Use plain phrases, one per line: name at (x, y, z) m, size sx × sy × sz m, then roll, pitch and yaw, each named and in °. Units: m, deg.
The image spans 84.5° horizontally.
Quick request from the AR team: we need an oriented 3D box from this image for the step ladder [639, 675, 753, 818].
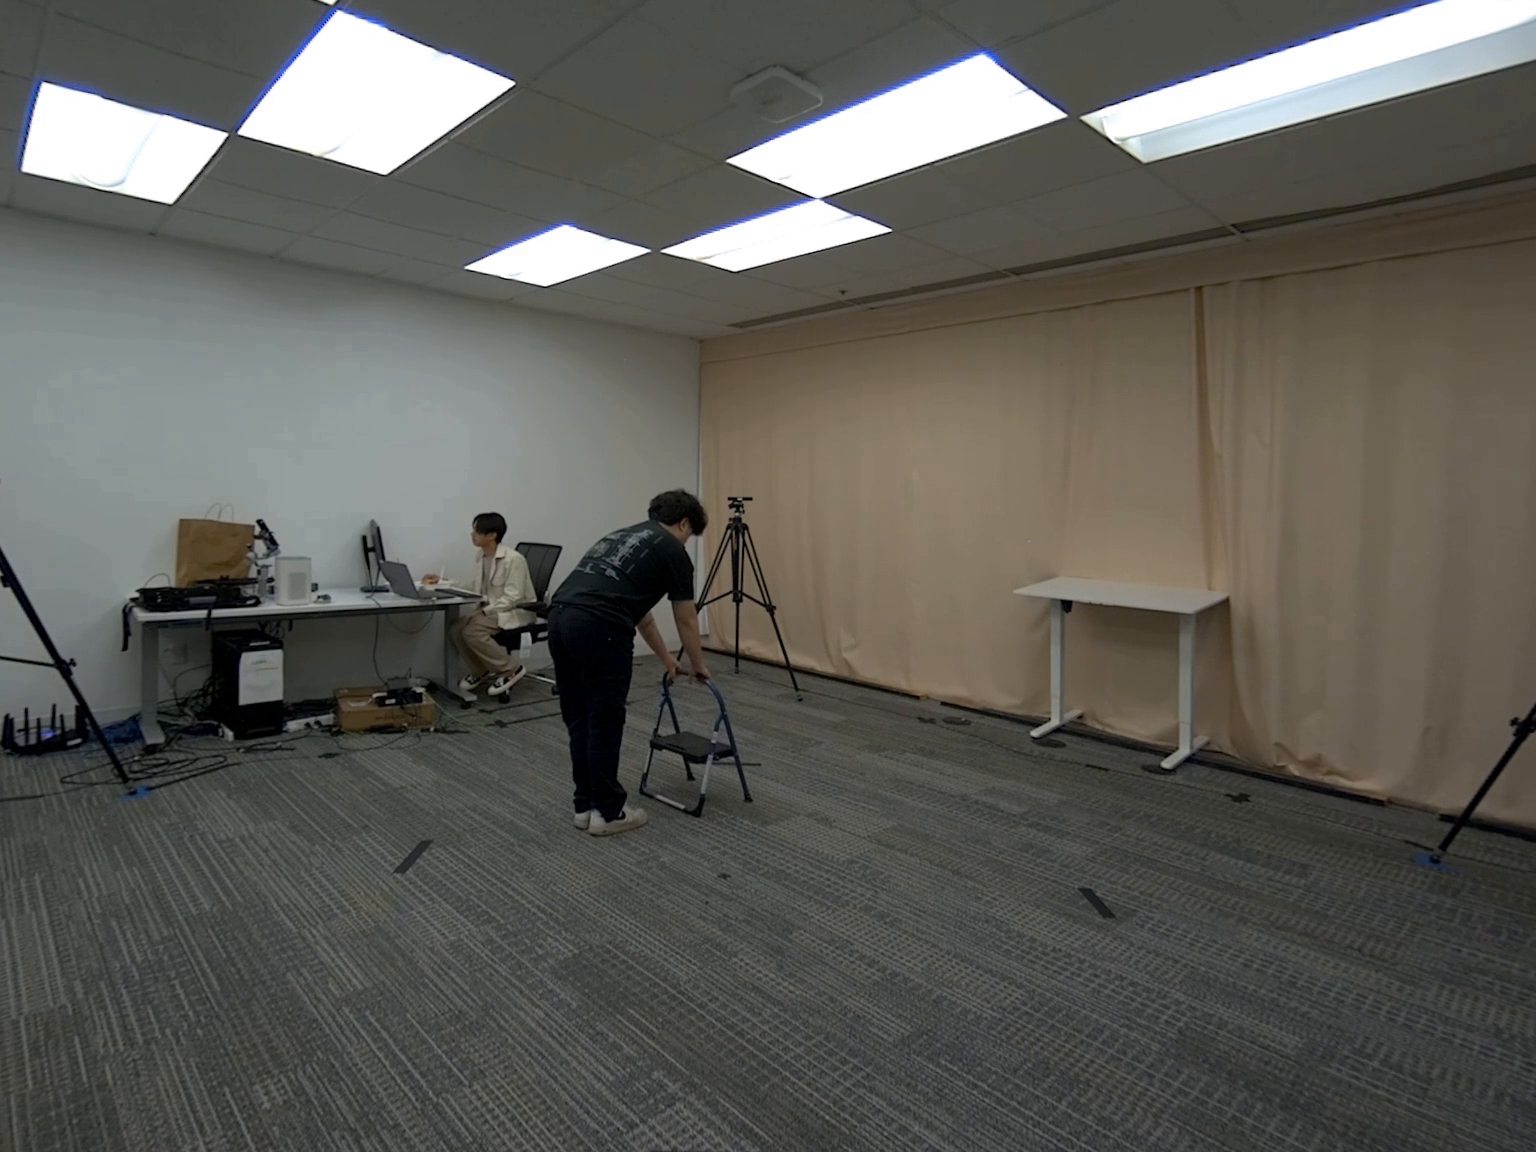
step ladder at (-0.341, 0.732, 3.919) m, size 0.441 × 0.605 × 0.341 m, roll 4°, pitch 3°, yaw 43°
